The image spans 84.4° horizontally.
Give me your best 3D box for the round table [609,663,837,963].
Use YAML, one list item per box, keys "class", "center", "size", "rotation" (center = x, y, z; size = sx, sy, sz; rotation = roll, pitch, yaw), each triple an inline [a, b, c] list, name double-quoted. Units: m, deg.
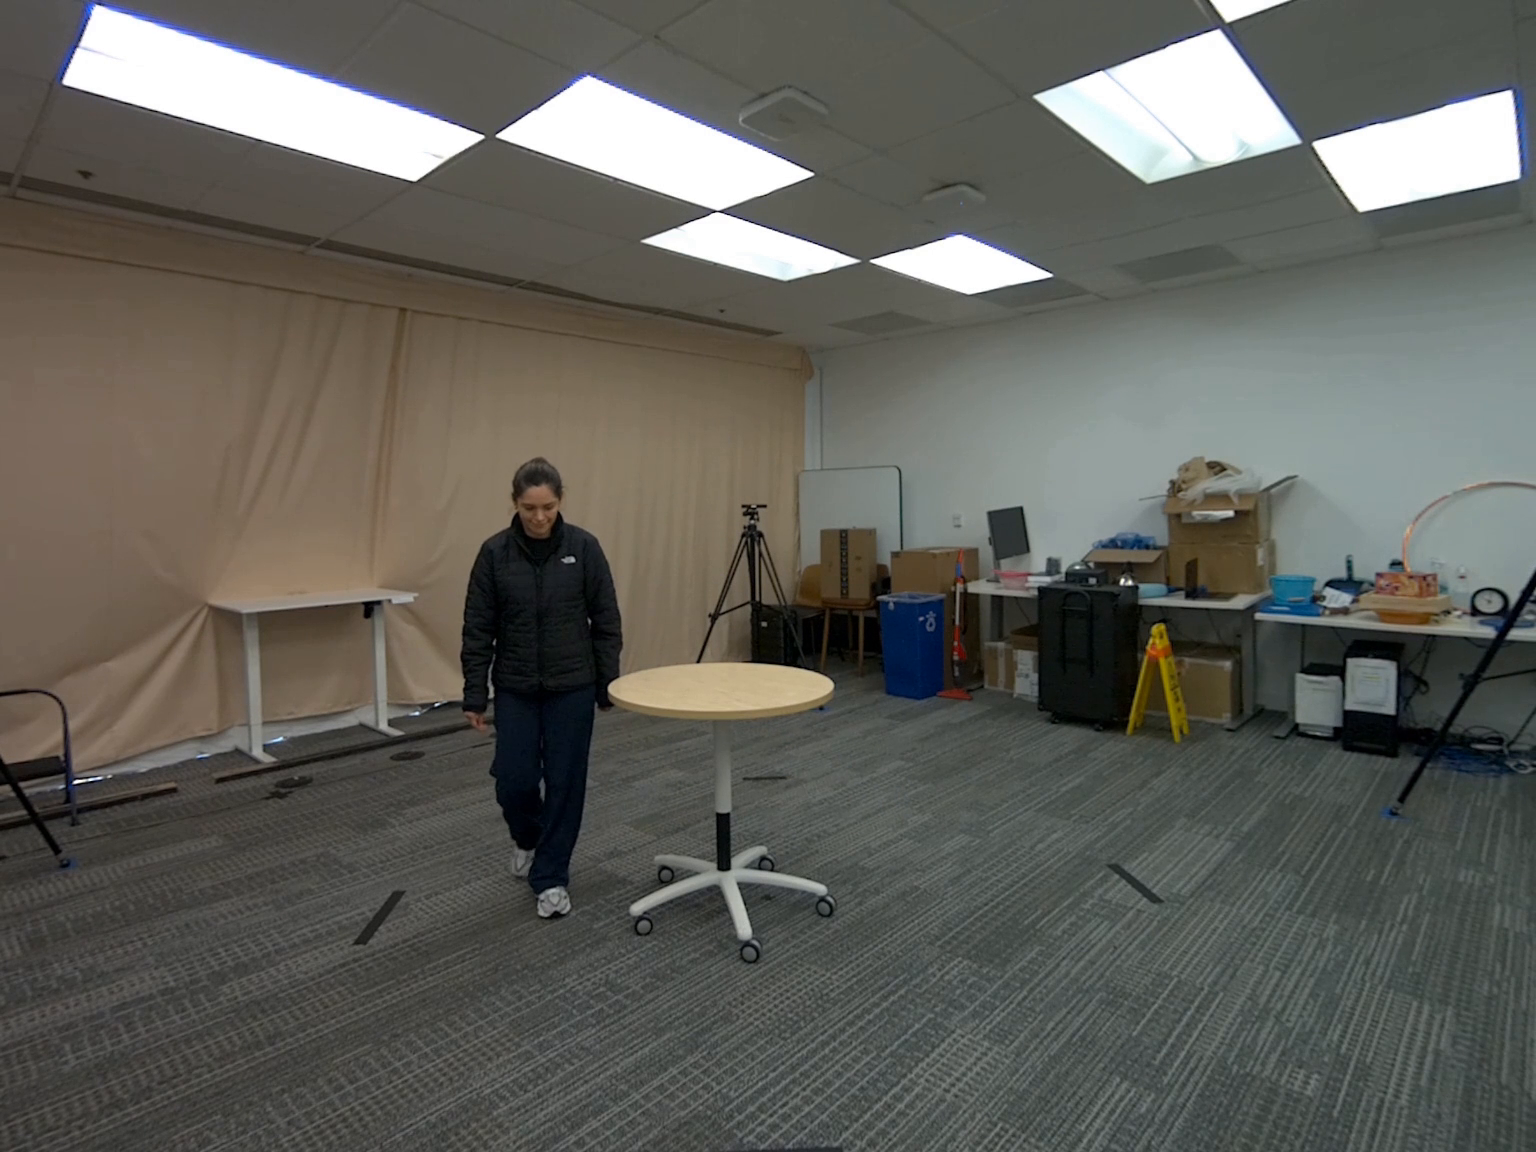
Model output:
- class: "round table"
  center: [-0.139, 0.756, 2.900]
  size: [0.784, 0.784, 0.788]
  rotation: [-1, 4, -2]
